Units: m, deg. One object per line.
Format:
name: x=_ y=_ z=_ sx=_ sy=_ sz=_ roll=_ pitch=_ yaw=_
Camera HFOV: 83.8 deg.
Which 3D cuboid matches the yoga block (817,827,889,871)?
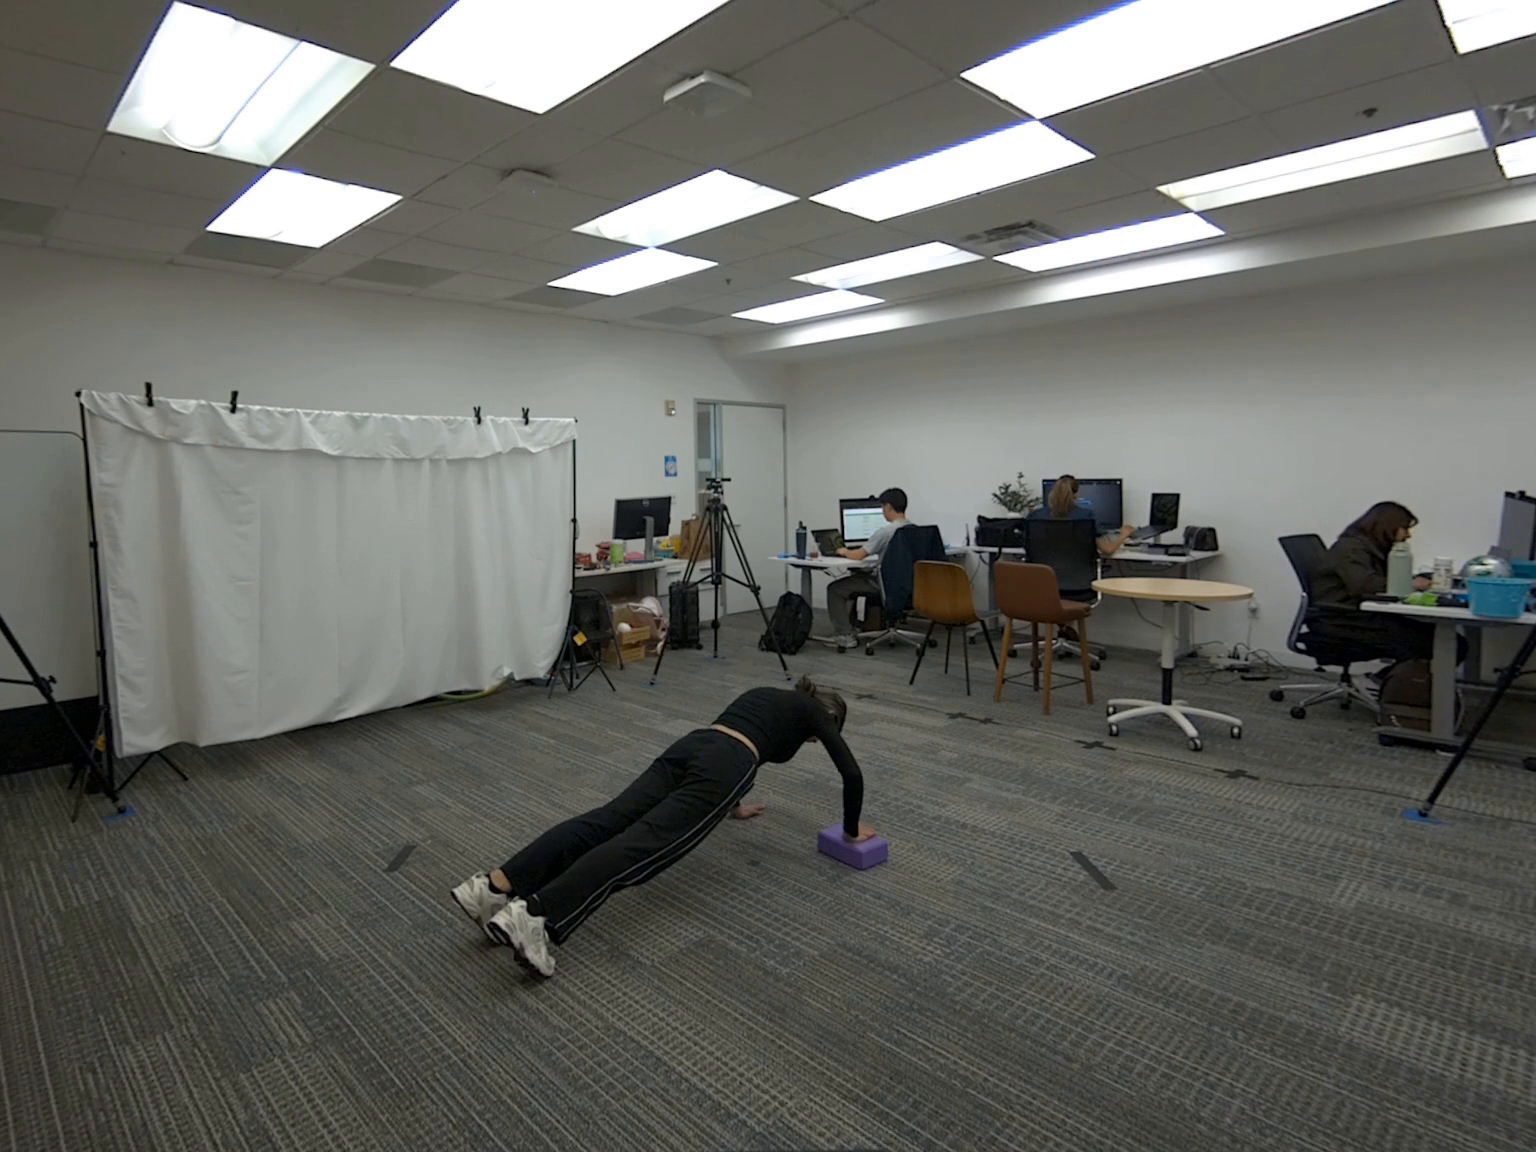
yoga block: x=0.311 y=0.994 z=3.151 sx=0.145 sy=0.076 sz=0.236 roll=-6 pitch=9 yaw=-38
